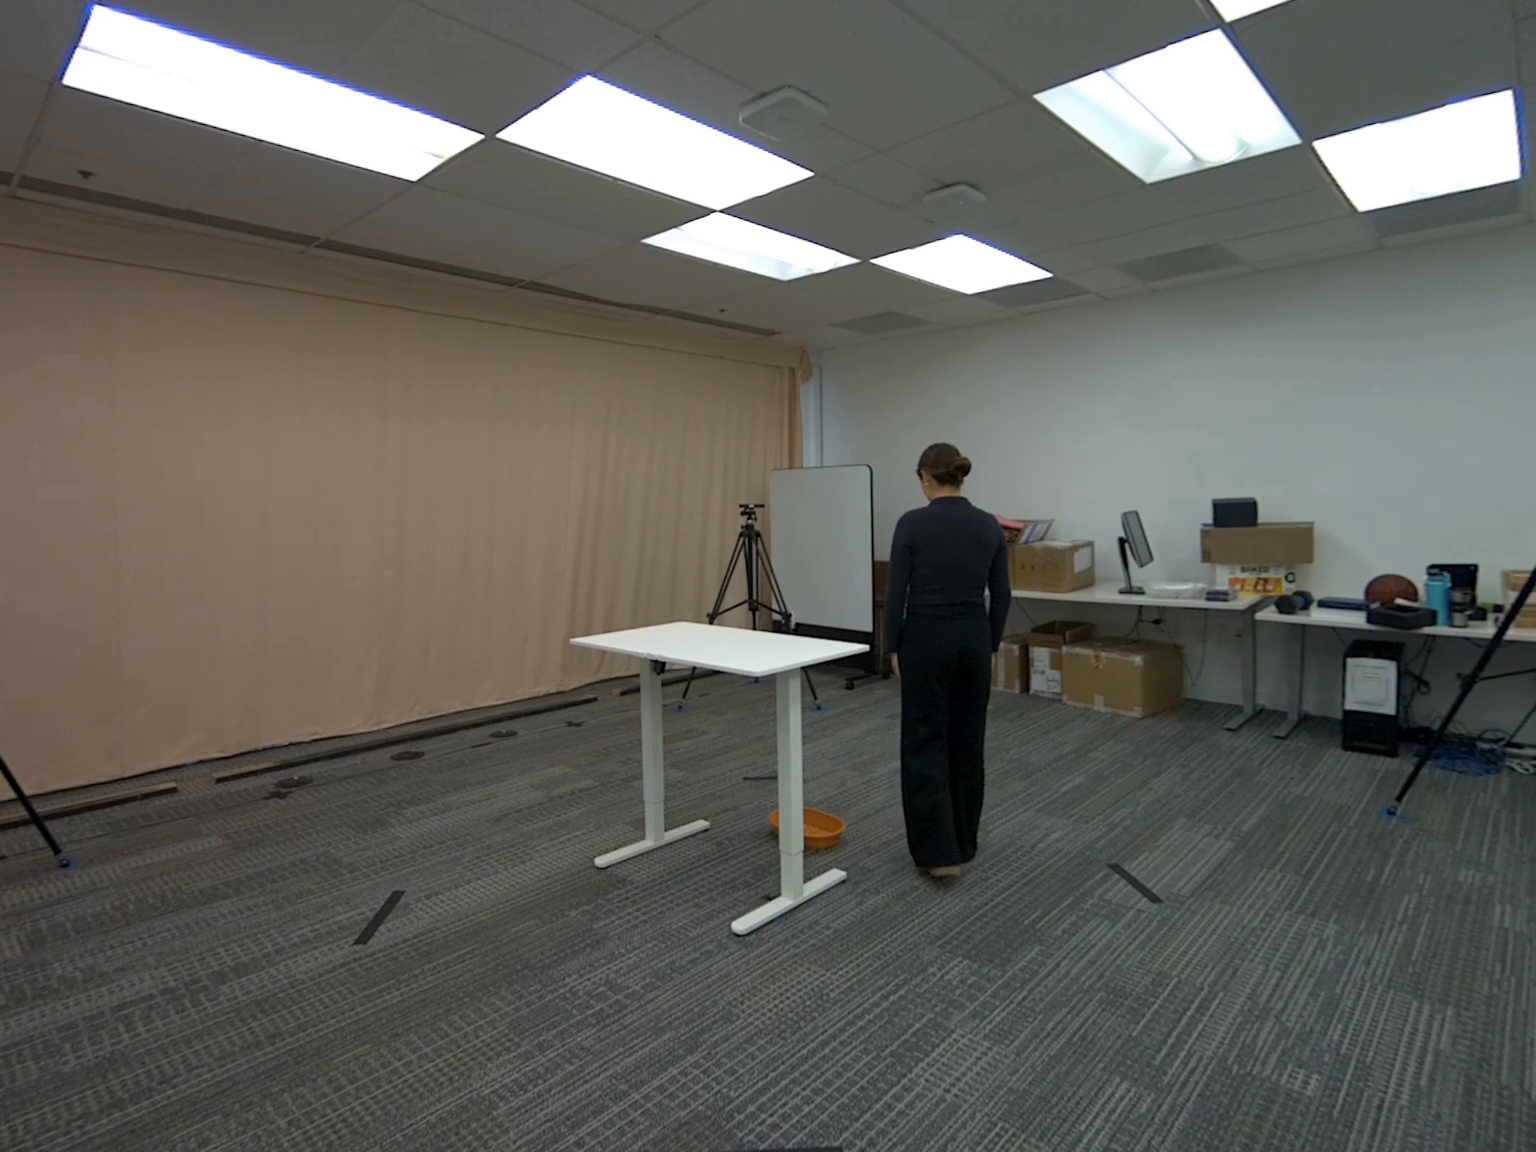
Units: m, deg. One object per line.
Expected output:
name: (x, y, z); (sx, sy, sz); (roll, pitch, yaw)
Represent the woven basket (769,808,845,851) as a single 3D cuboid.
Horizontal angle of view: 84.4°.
woven basket: (0.163, 1.045, 3.505); (0.245, 0.073, 0.362); (-6, 6, -39)
